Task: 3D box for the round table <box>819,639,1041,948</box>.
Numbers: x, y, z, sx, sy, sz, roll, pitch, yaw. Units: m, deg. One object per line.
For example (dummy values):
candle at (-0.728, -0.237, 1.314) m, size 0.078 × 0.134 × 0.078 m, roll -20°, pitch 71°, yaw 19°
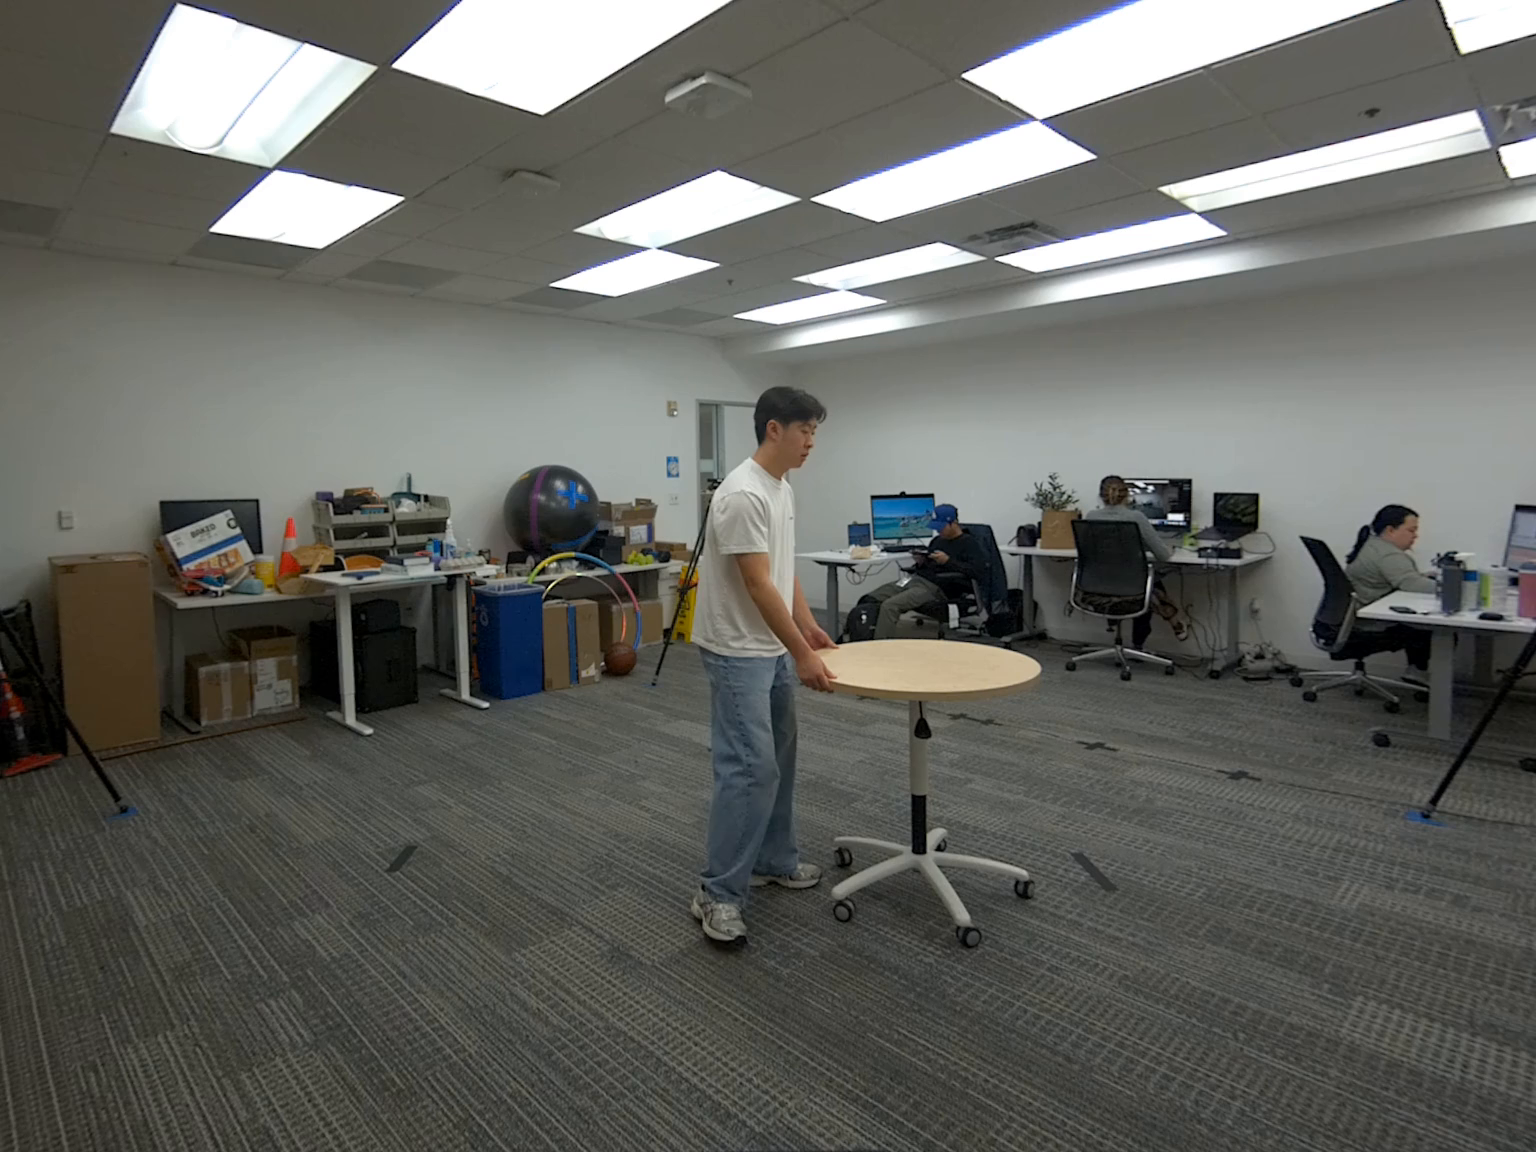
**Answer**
round table at (0.500, 0.674, 2.846) m, size 0.763 × 0.790 × 0.768 m, roll -2°, pitch 5°, yaw -2°
